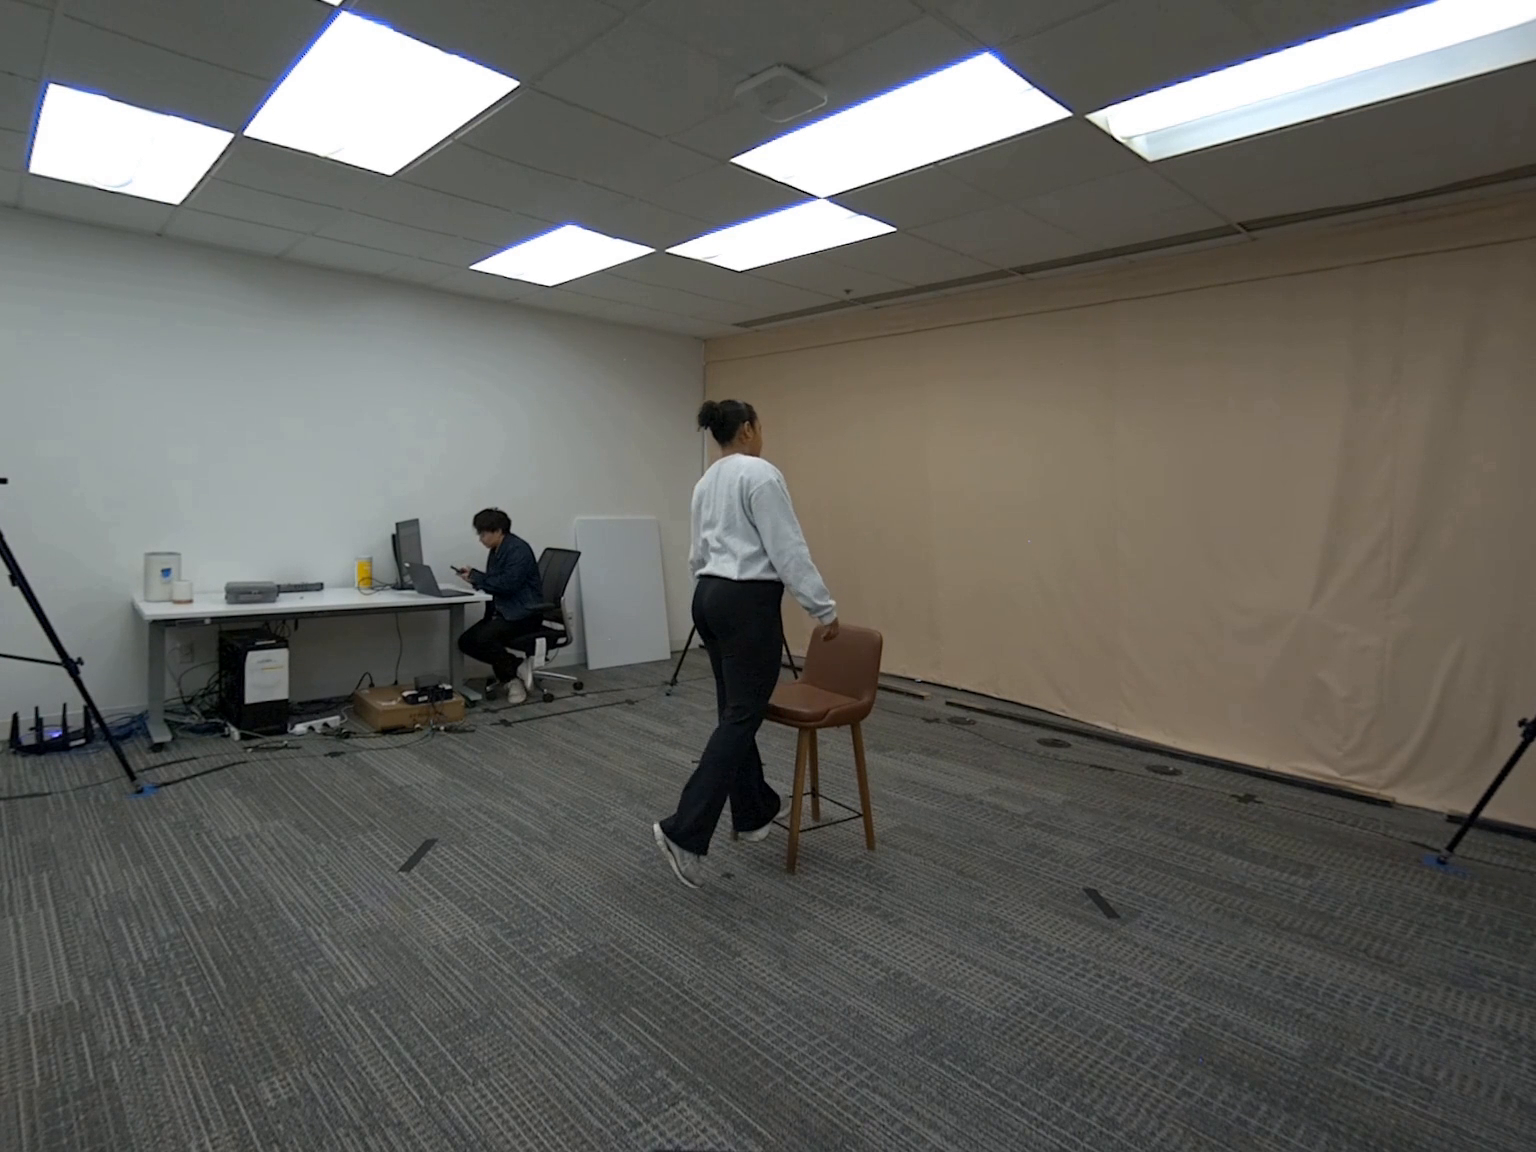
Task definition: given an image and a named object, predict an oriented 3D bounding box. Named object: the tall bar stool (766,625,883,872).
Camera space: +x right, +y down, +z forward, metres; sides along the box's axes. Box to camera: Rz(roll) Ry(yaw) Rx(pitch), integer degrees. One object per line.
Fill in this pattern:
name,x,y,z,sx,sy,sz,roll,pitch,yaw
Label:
tall bar stool,0.151,0.648,3.395,0.457,0.889,0.467,1,2,-35
